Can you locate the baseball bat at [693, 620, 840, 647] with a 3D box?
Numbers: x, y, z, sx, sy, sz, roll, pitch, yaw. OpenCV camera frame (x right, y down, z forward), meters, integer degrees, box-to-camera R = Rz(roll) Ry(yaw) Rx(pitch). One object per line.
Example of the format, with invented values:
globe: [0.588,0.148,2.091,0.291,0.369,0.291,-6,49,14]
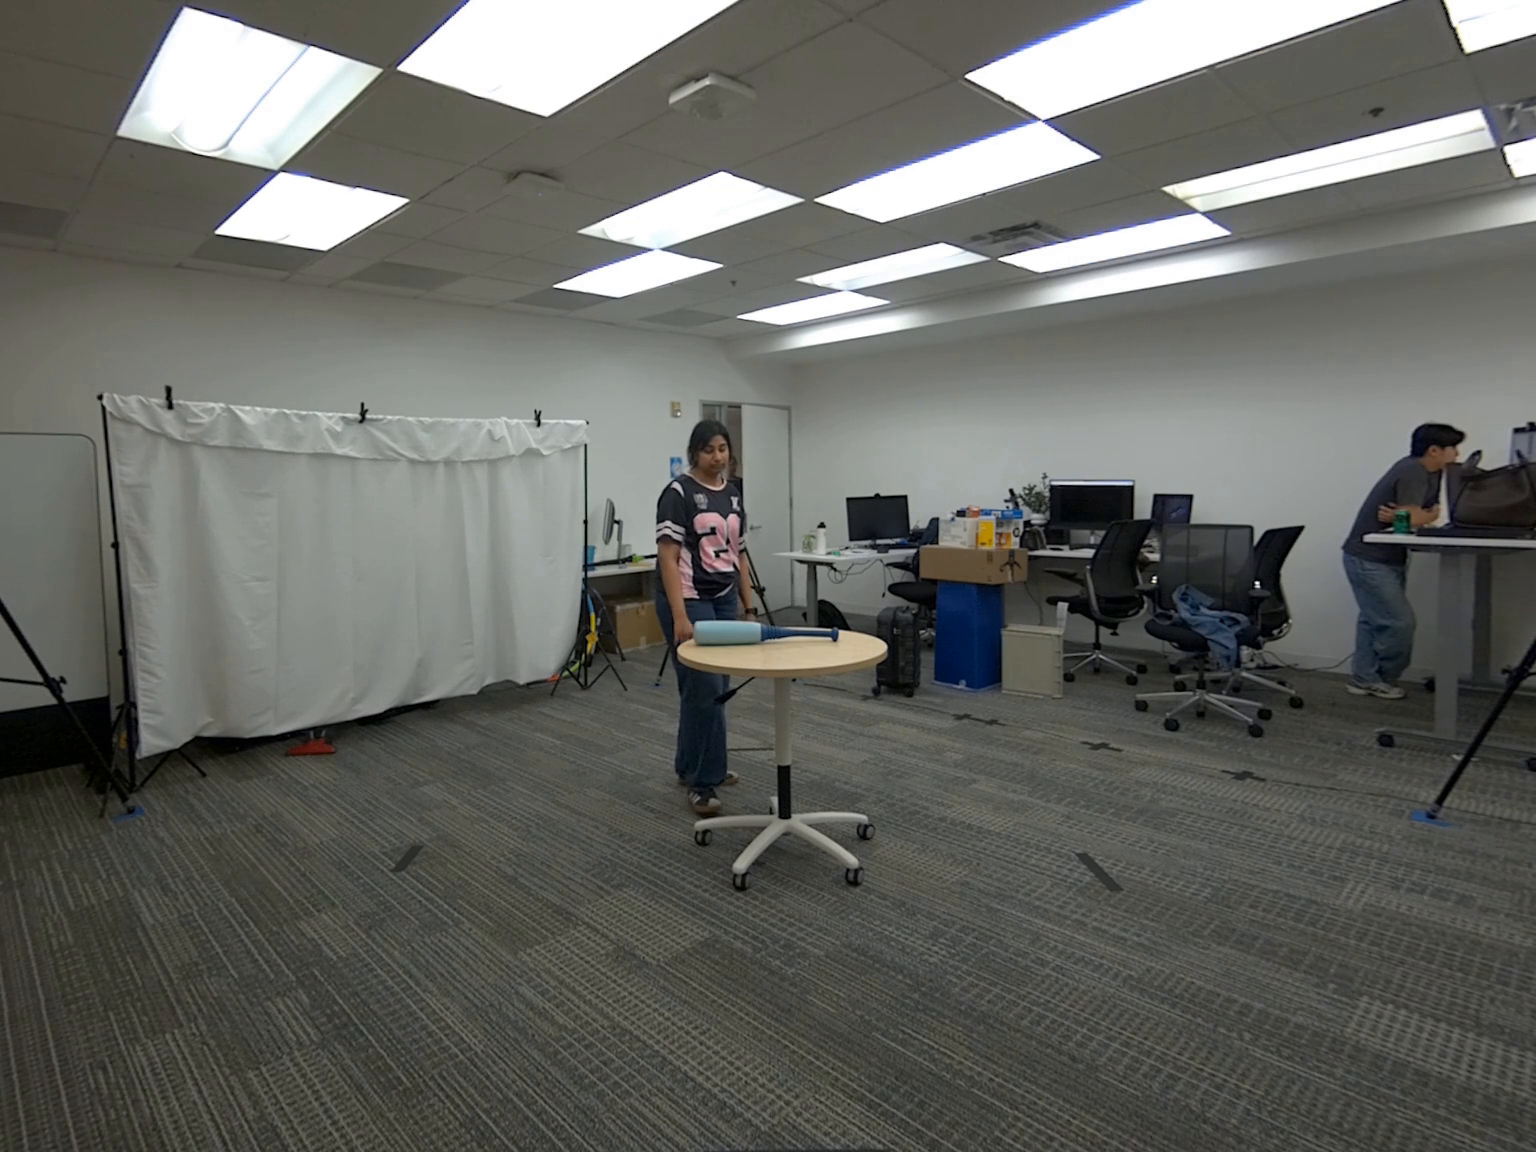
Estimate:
baseball bat: [-0.002,0.215,3.190,0.541,0.089,0.090,0,5,-4]
